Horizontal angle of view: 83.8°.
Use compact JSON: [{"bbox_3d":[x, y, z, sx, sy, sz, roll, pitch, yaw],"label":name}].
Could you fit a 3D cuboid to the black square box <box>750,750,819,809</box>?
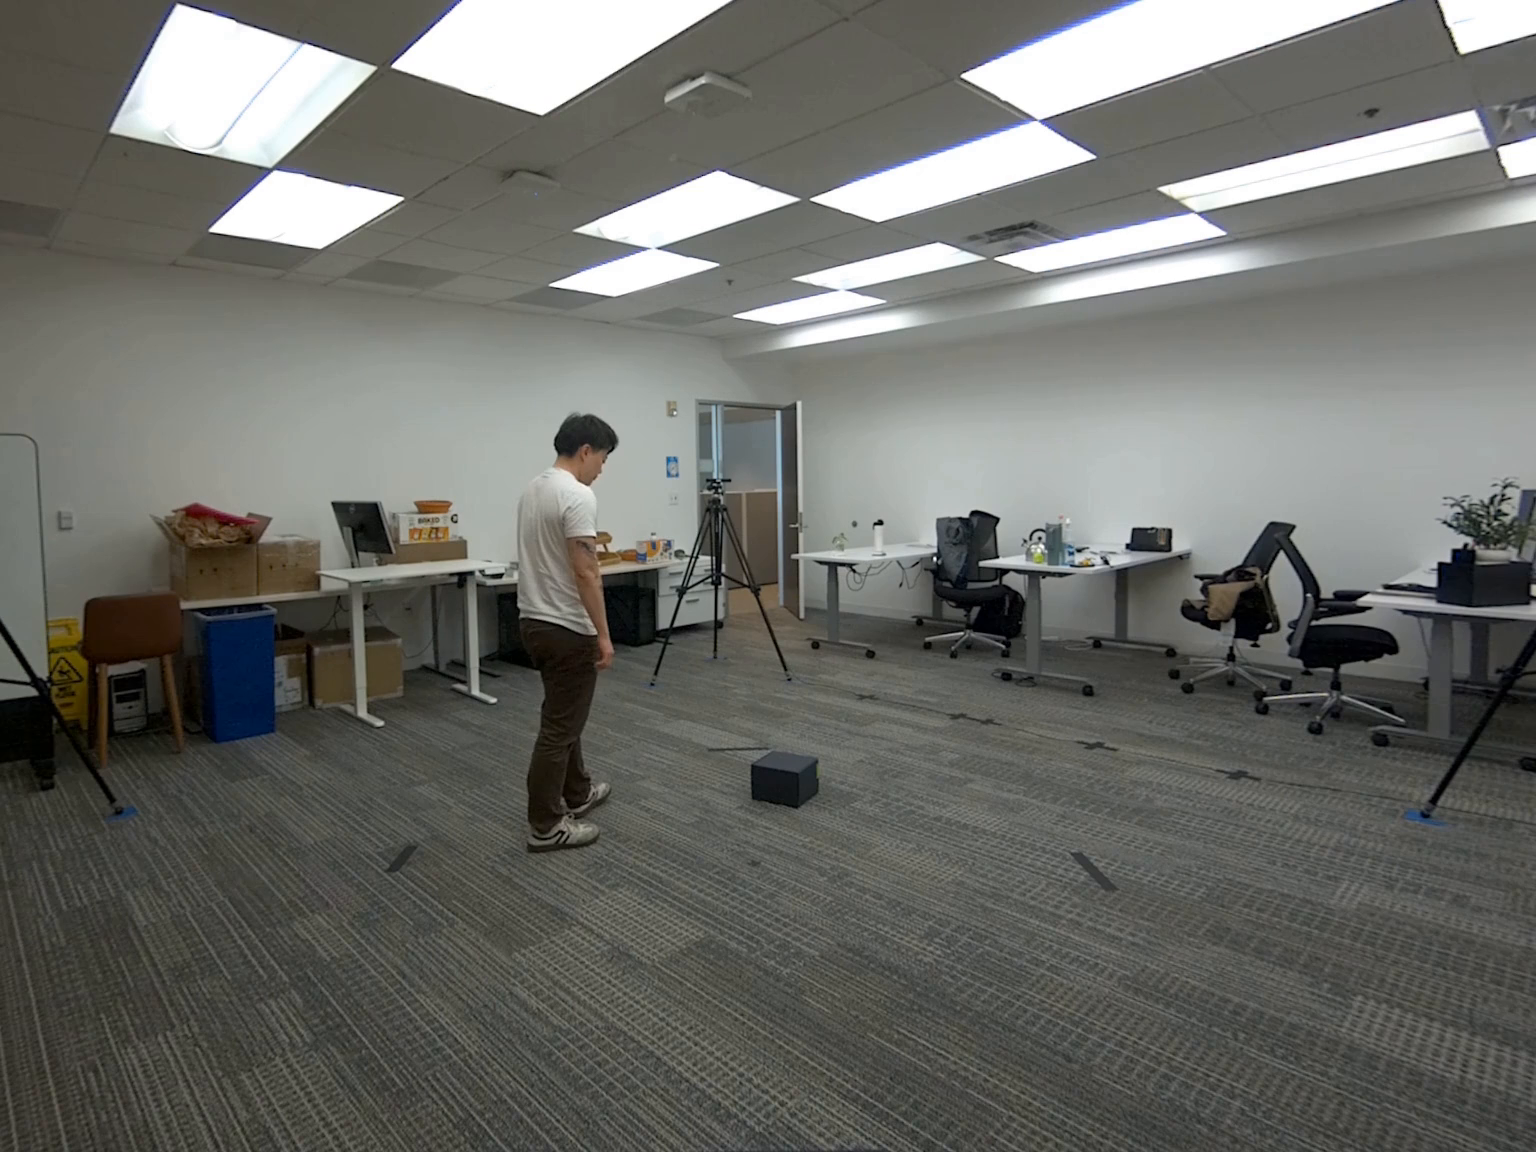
[{"bbox_3d":[0.077,0.886,3.755,0.234,0.155,0.212,2,6,29],"label":"black square box"}]
